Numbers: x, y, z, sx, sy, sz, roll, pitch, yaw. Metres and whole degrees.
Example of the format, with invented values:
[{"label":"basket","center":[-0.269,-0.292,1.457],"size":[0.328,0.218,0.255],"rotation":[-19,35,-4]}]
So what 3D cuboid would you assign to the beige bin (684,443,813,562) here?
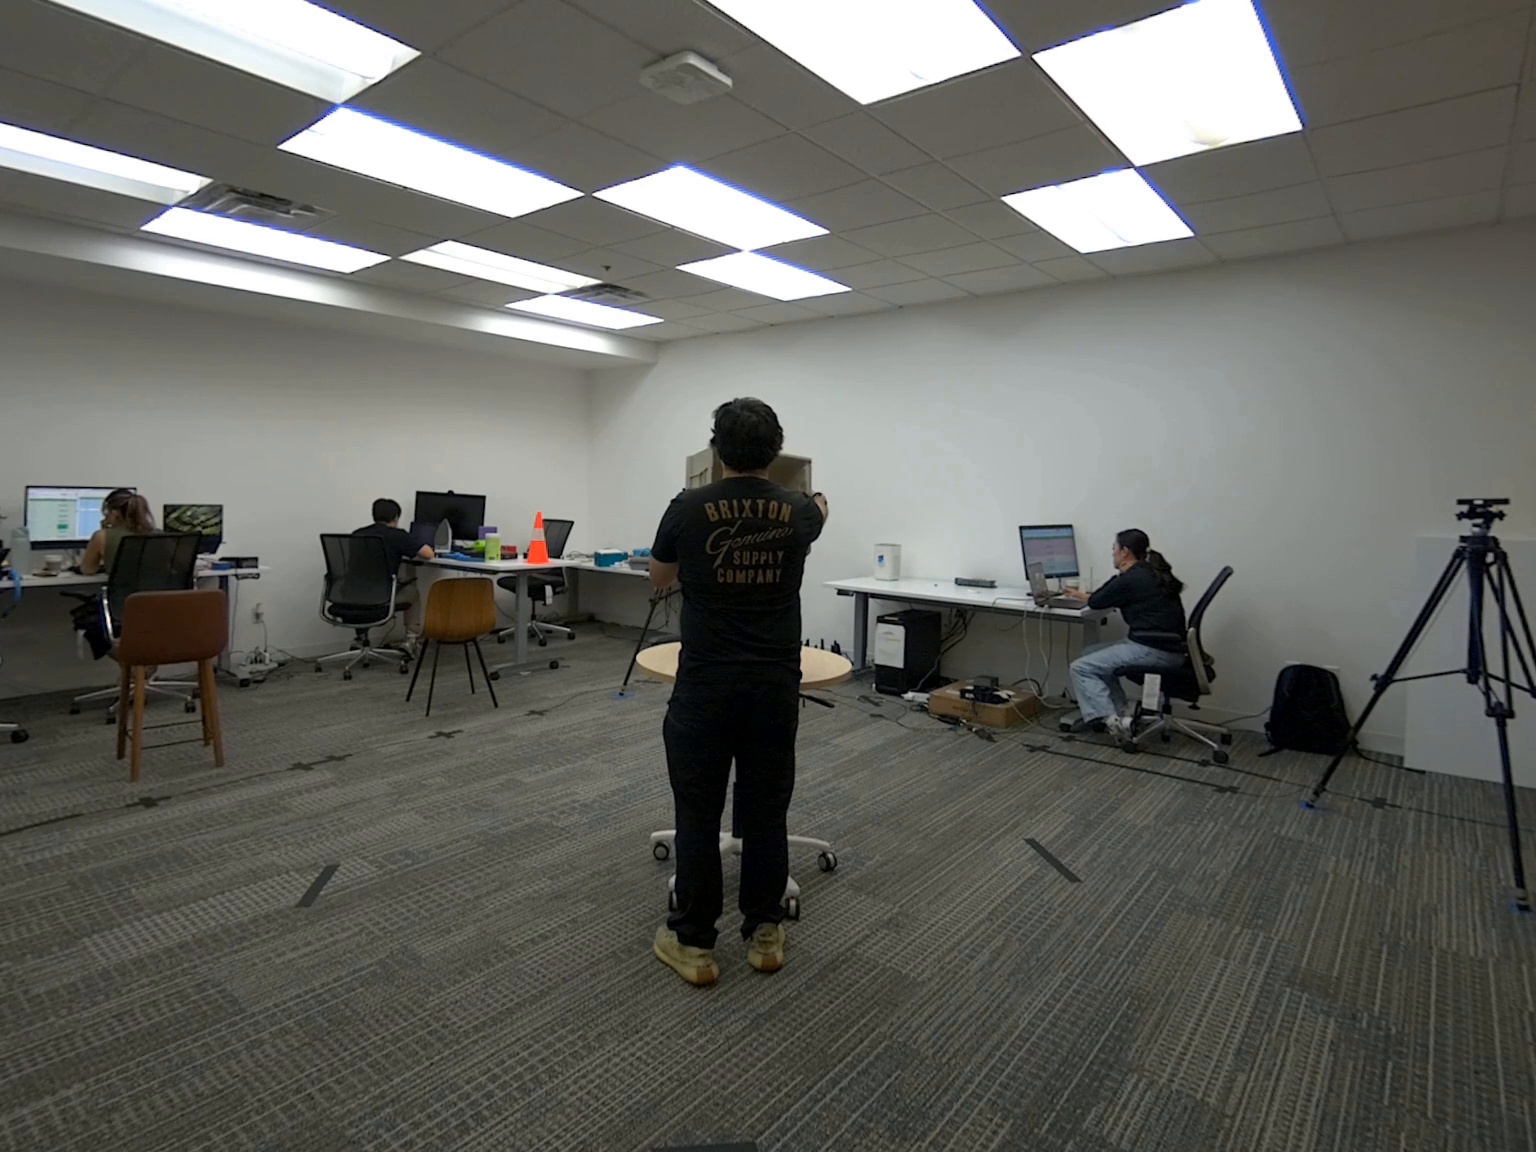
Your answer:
[{"label":"beige bin","center":[-0.073,-0.247,3.003],"size":[0.410,0.380,0.193],"rotation":[4,-8,-31]}]
